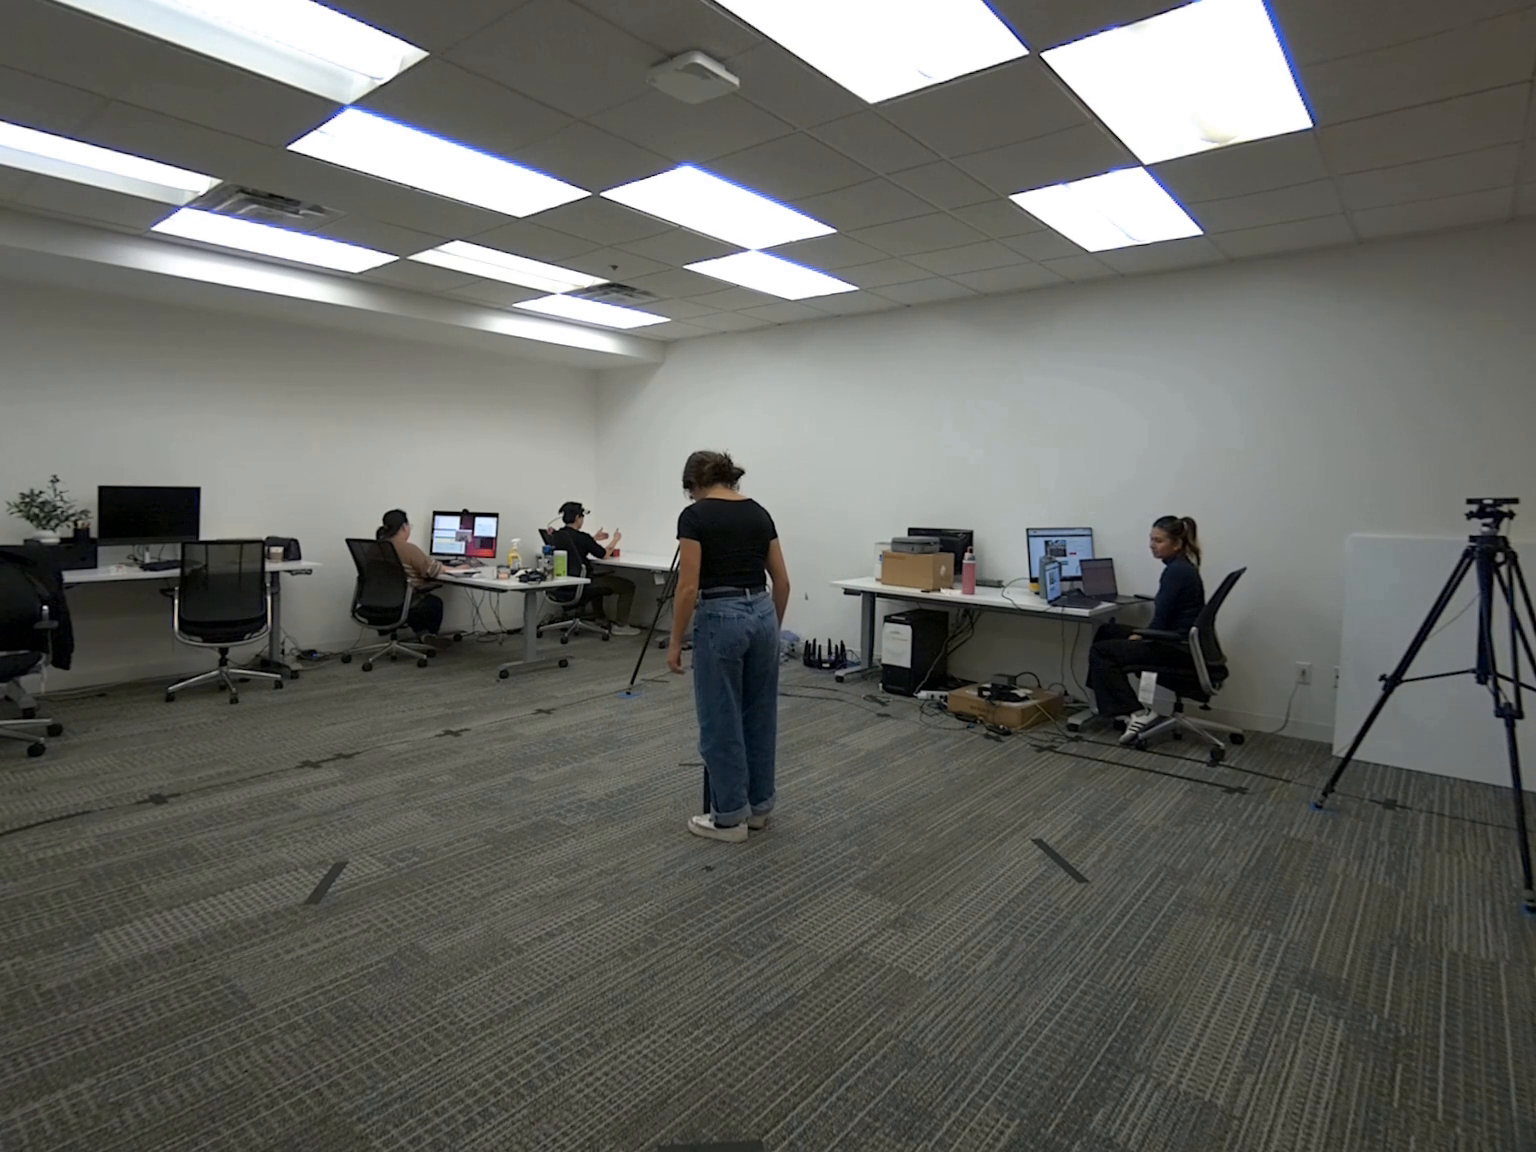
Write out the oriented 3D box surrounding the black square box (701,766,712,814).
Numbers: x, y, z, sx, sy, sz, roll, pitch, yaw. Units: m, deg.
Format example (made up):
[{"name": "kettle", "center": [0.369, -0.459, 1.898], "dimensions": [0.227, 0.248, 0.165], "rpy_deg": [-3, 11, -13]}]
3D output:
[{"name": "black square box", "center": [-0.186, 0.889, 3.648], "dimensions": [0.157, 0.227, 0.215], "rpy_deg": [2, 4, 8]}]
